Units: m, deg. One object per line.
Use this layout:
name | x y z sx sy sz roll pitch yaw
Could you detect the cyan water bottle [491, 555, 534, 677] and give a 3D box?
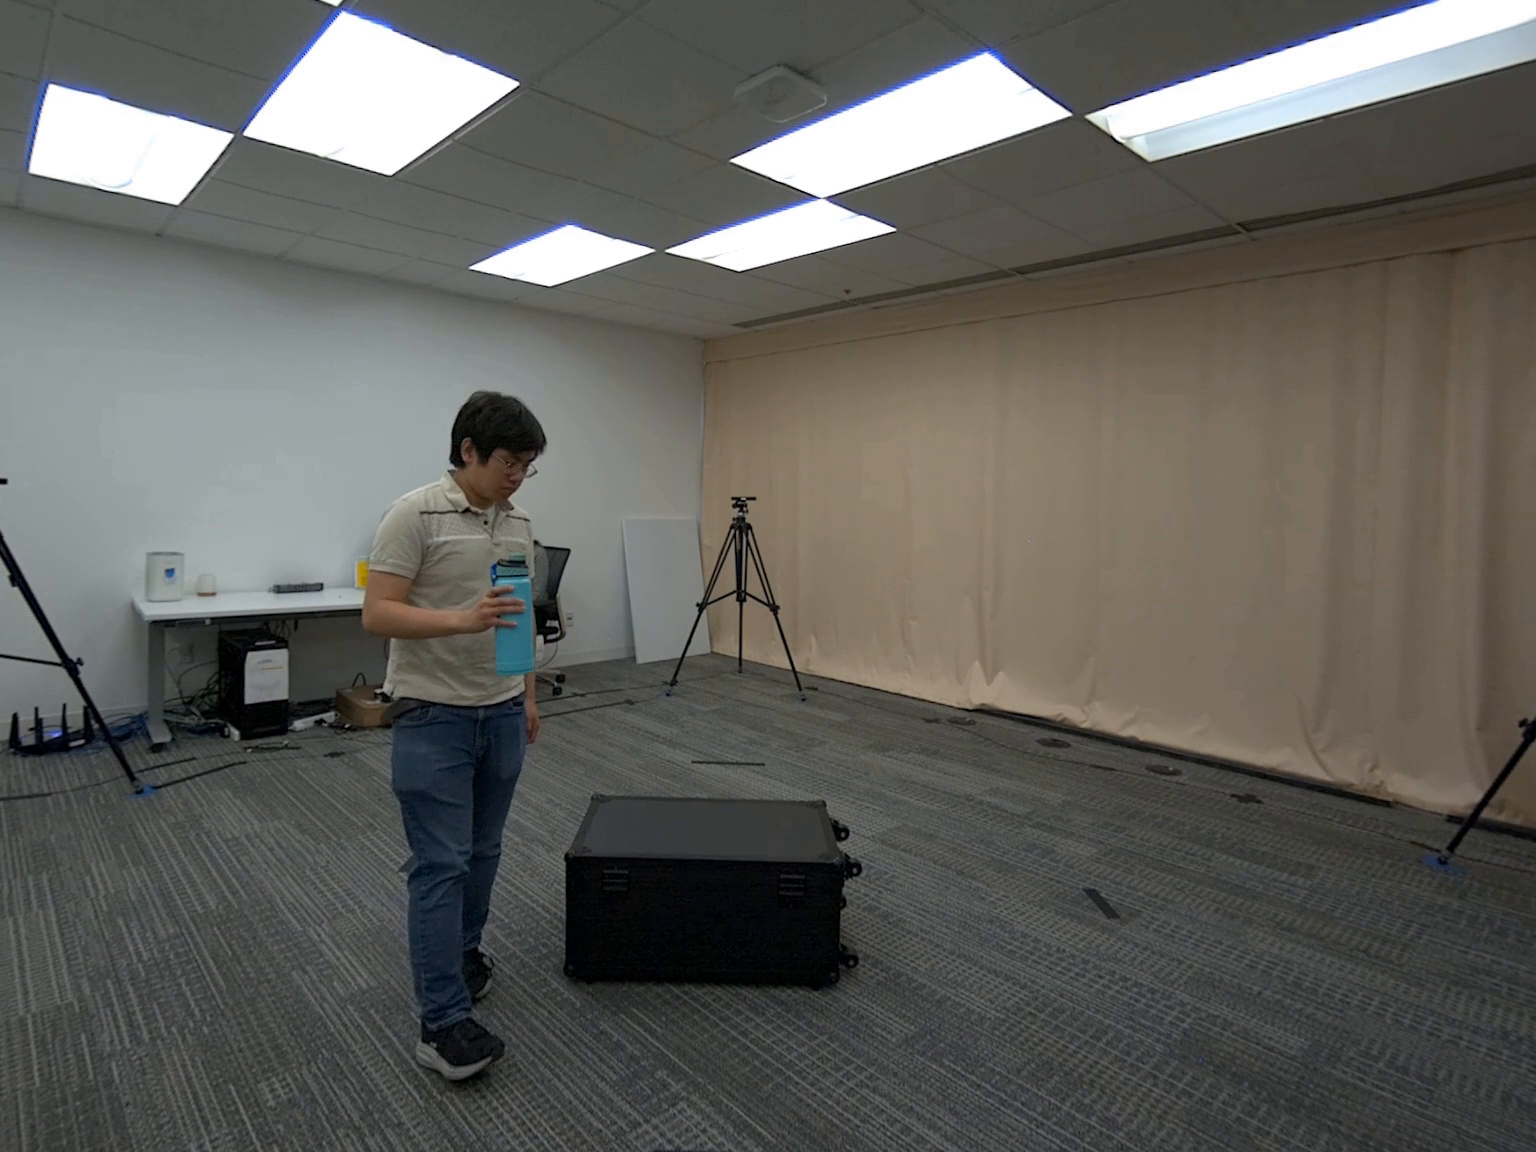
cyan water bottle | -0.627 0.096 1.973 0.092 0.282 0.093 -1 4 -1
